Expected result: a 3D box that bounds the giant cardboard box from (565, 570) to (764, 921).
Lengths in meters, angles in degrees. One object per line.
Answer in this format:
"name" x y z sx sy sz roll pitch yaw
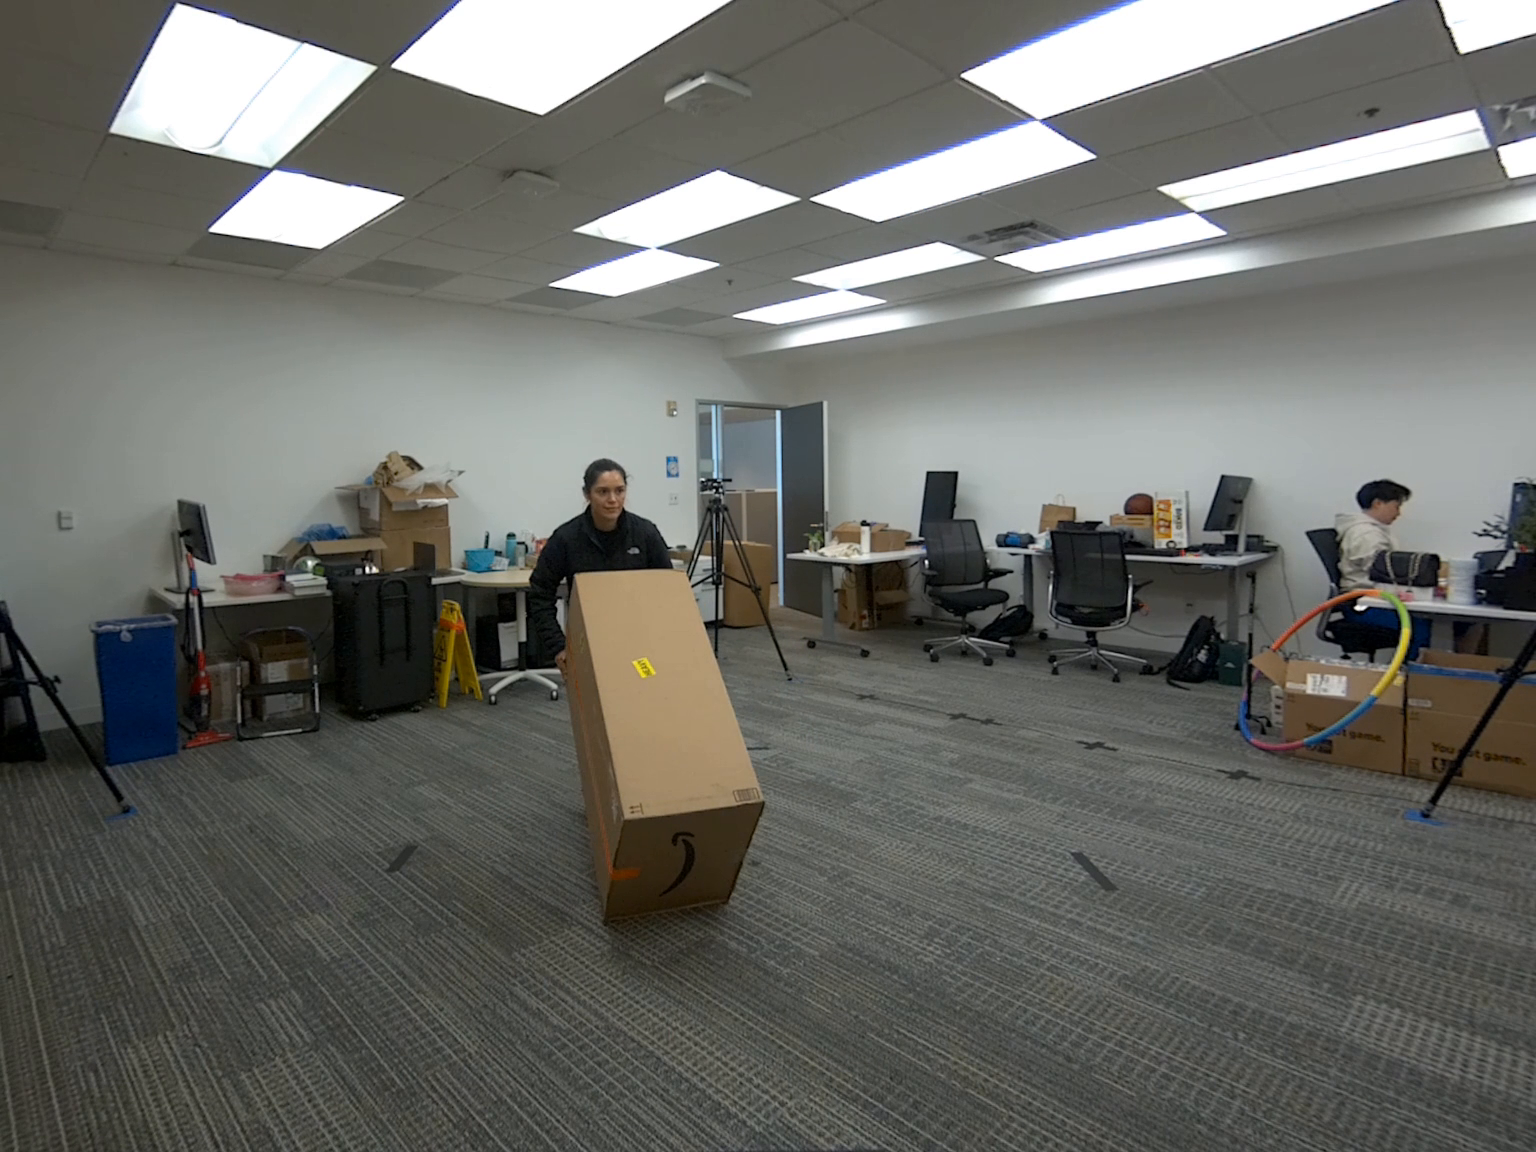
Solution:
"giant cardboard box" -0.418 0.532 2.976 0.439 0.573 1.065 -3 42 -21
